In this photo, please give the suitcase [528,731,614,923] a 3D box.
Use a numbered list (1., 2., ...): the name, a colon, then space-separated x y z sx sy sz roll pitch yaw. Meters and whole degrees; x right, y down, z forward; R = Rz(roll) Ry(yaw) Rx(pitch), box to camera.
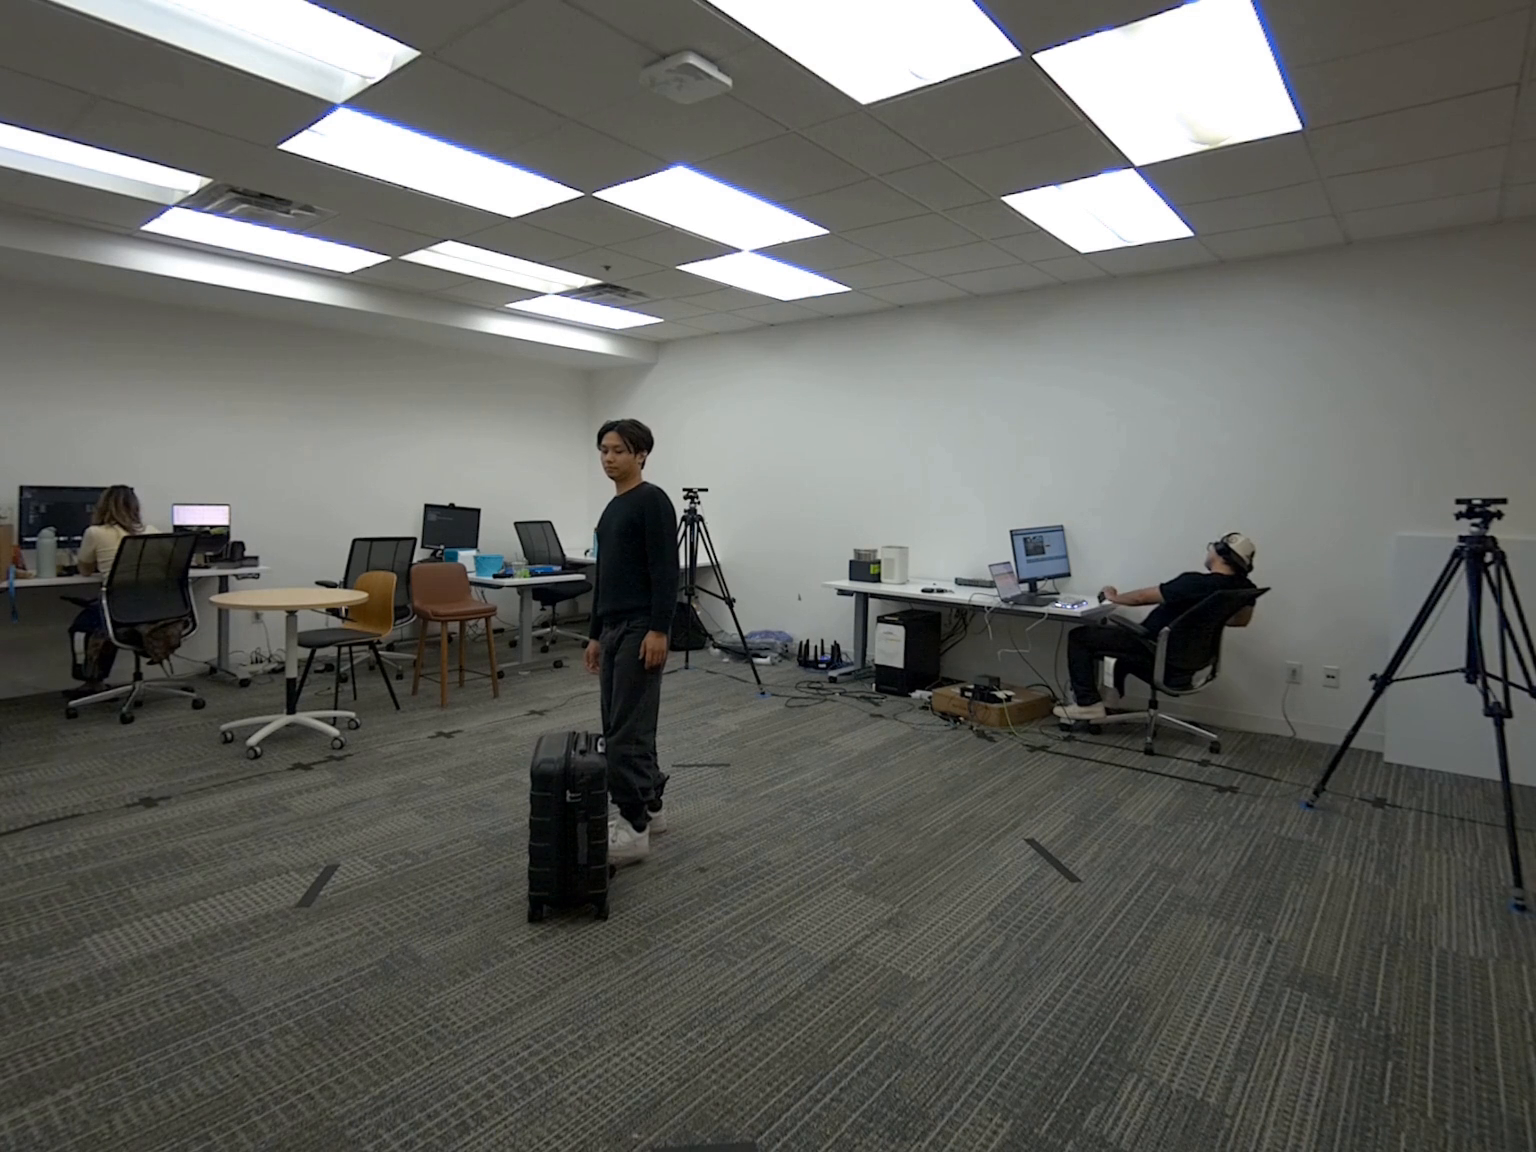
1. suitcase: -0.676 0.815 2.835 0.246 0.547 0.381 -1 5 -10
